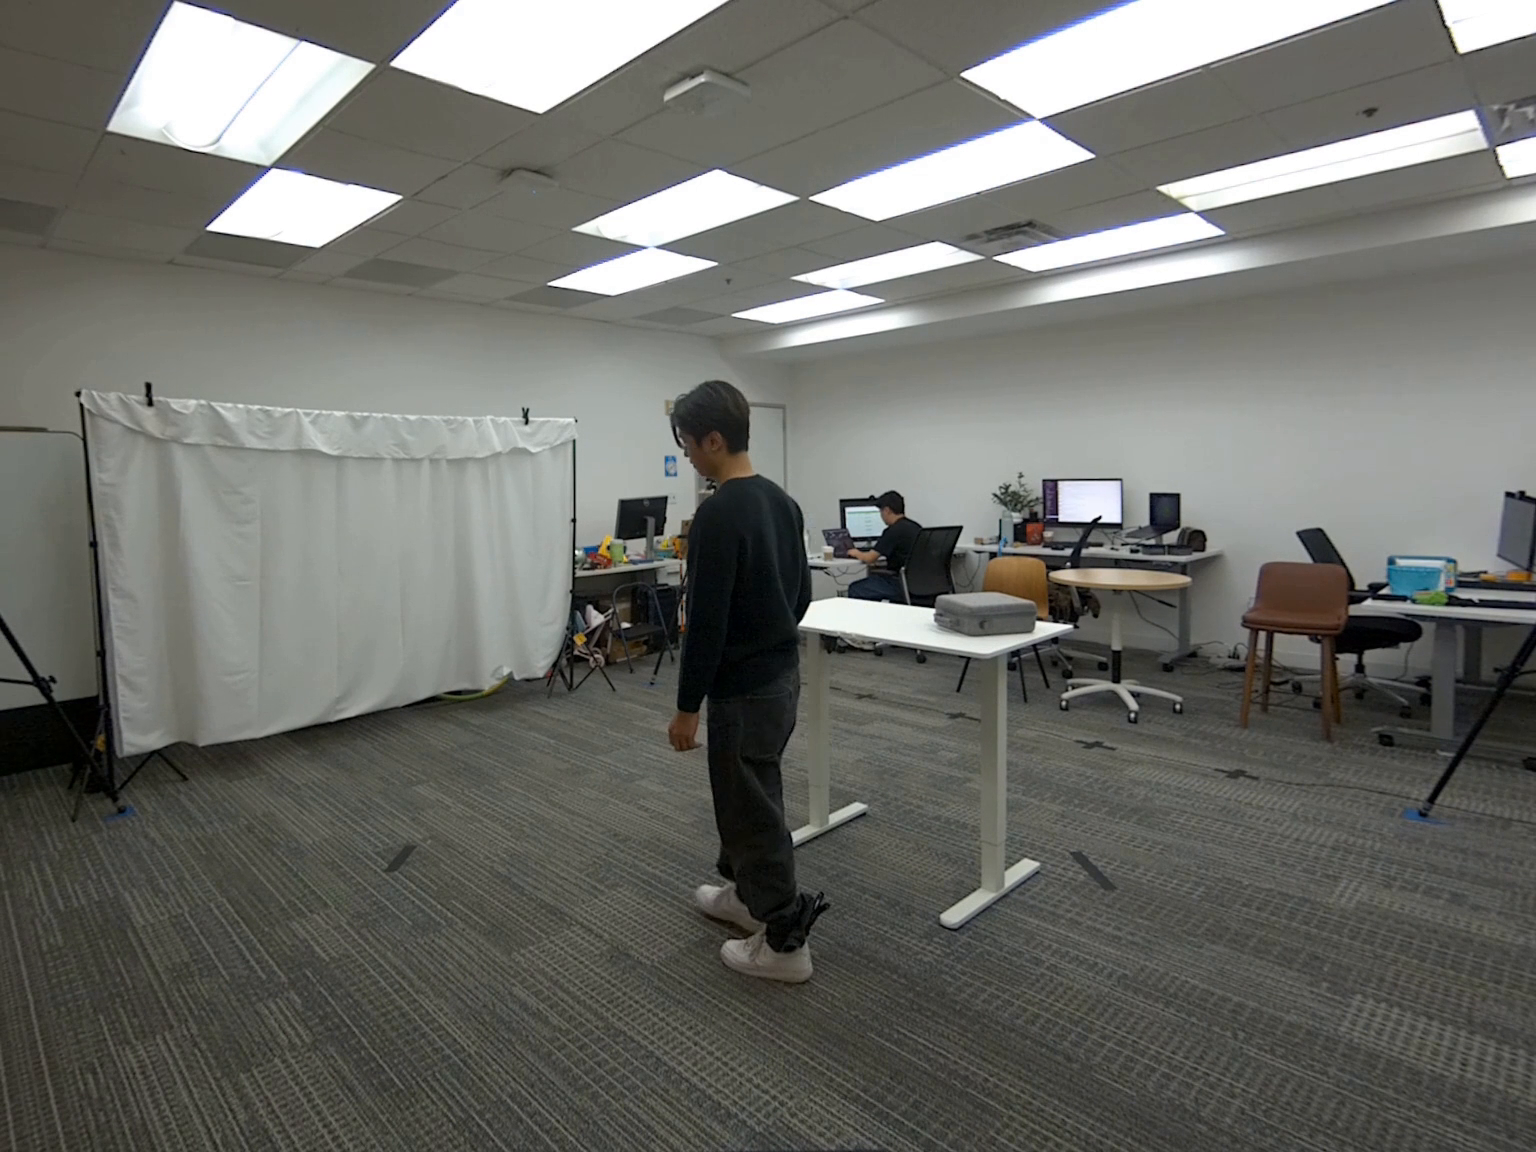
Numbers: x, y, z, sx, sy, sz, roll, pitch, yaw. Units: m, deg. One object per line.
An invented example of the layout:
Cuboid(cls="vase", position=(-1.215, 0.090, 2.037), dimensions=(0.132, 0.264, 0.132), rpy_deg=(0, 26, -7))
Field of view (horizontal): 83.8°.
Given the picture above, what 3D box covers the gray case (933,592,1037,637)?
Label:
Cuboid(cls="gray case", position=(0.722, 0.122, 2.853), dimensions=(0.257, 0.104, 0.261), rpy_deg=(-2, 7, -14))
